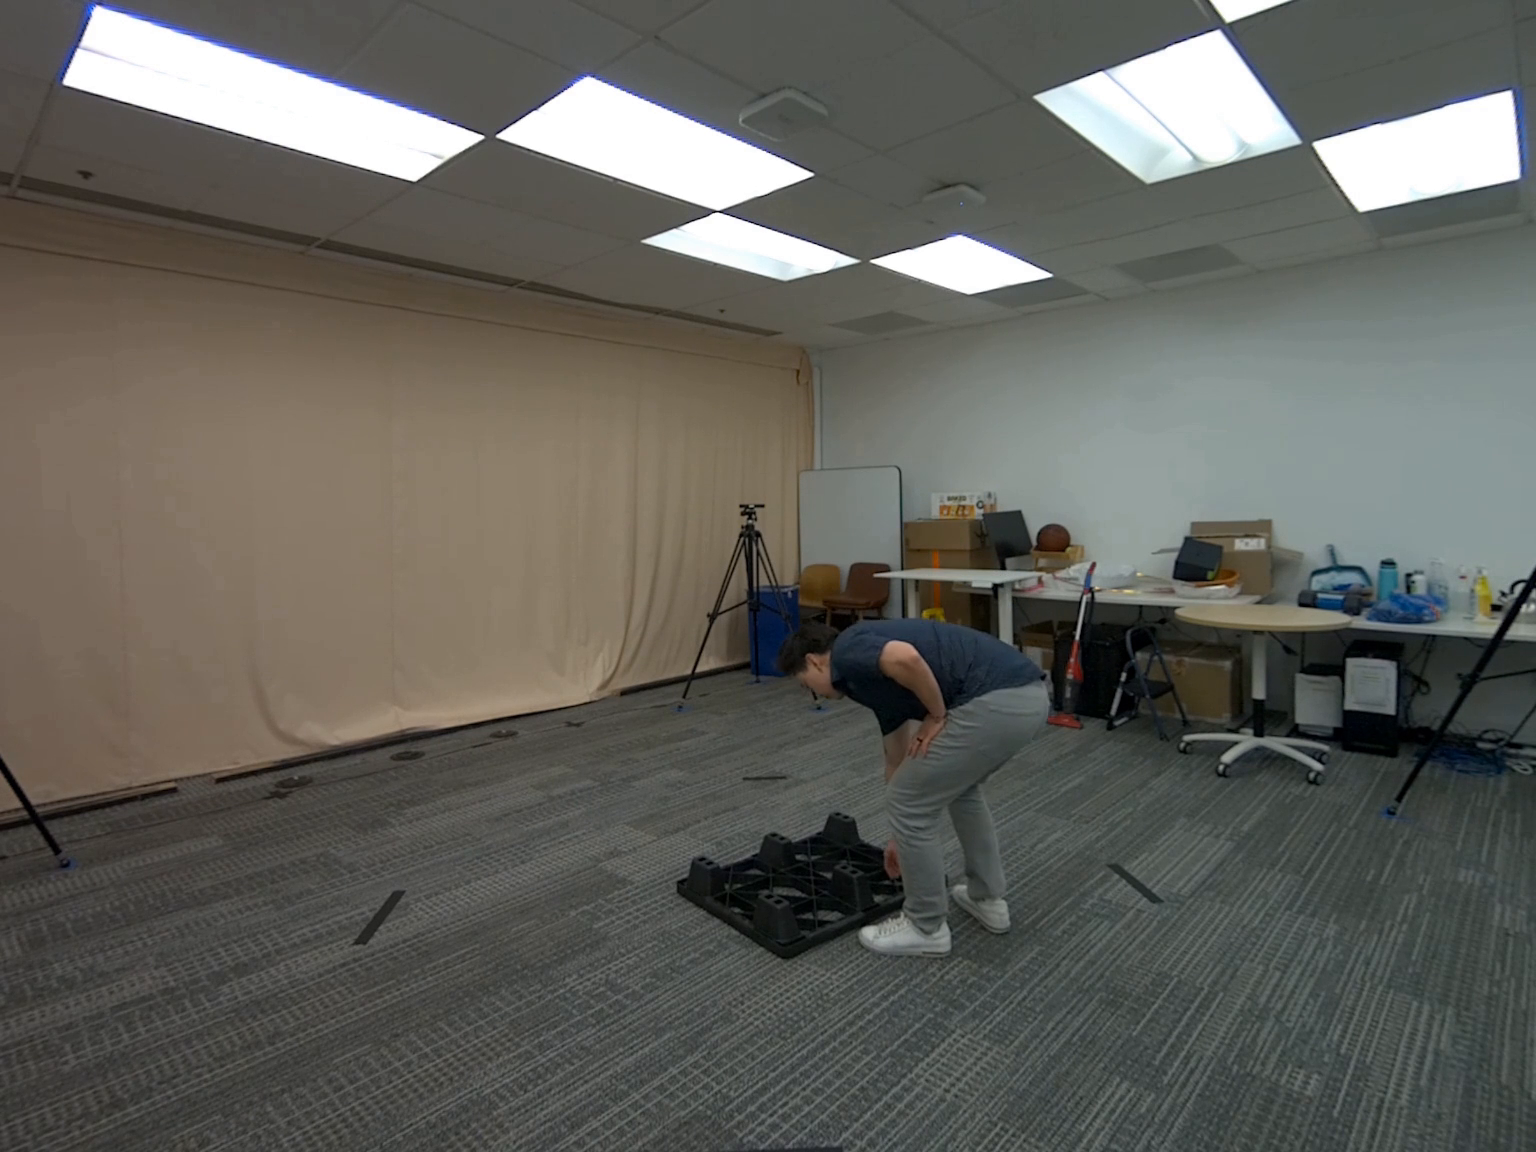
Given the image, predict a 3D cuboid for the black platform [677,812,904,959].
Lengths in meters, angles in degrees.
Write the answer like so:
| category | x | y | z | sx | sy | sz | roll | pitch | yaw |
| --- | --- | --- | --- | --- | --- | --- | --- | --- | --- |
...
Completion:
| category | x | y | z | sx | sy | sz | roll | pitch | yaw |
| --- | --- | --- | --- | --- | --- | --- | --- | --- | --- |
| black platform | 0.163 | 1.065 | 3.031 | 0.782 | 0.143 | 0.625 | -5 | 6 | -39 |
